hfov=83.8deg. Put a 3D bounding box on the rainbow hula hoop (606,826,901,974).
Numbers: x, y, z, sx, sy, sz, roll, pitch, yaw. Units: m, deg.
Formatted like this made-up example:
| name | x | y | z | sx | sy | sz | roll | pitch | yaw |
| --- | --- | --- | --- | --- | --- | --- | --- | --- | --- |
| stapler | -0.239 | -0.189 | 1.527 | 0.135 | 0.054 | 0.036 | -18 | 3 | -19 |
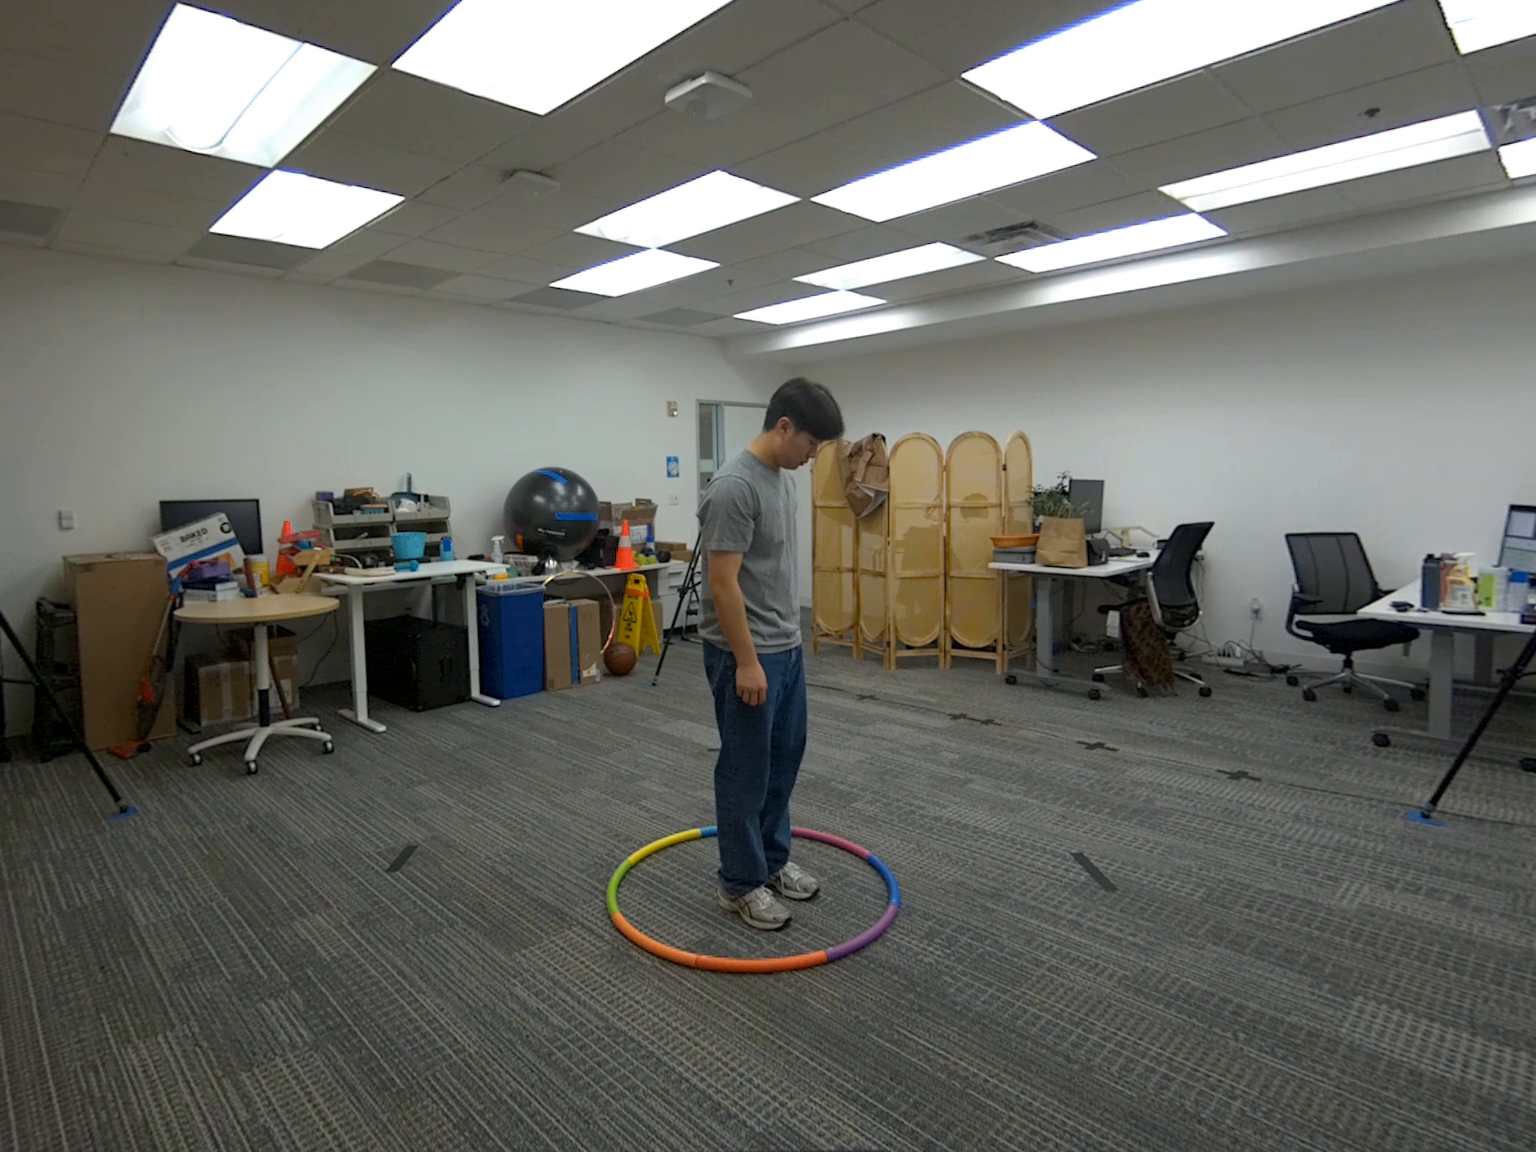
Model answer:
| name | x | y | z | sx | sy | sz | roll | pitch | yaw |
| --- | --- | --- | --- | --- | --- | --- | --- | --- | --- |
| rainbow hula hoop | -0.056 | 1.040 | 2.900 | 0.978 | 0.035 | 0.984 | -1 | 7 | -2 |
